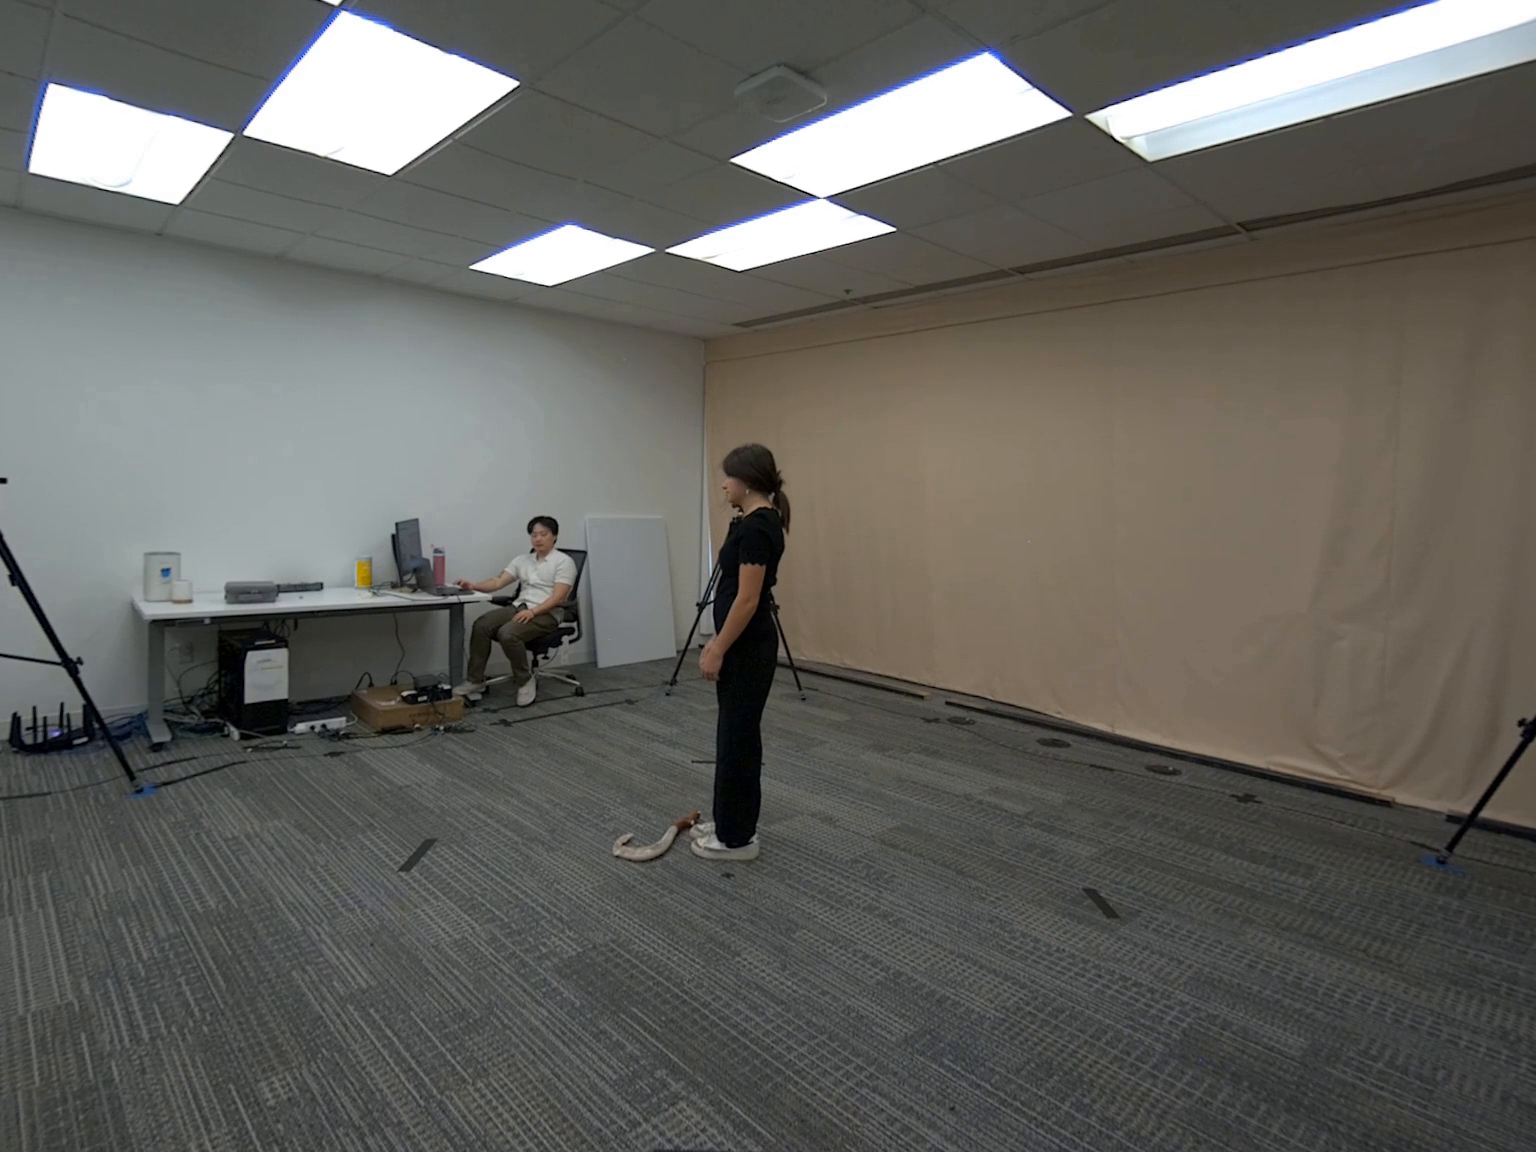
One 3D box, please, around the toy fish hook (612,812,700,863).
[{"bbox_3d":[-0.458,1.043,3.438,0.229,0.048,0.498,5,6,23],"label":"toy fish hook"}]
